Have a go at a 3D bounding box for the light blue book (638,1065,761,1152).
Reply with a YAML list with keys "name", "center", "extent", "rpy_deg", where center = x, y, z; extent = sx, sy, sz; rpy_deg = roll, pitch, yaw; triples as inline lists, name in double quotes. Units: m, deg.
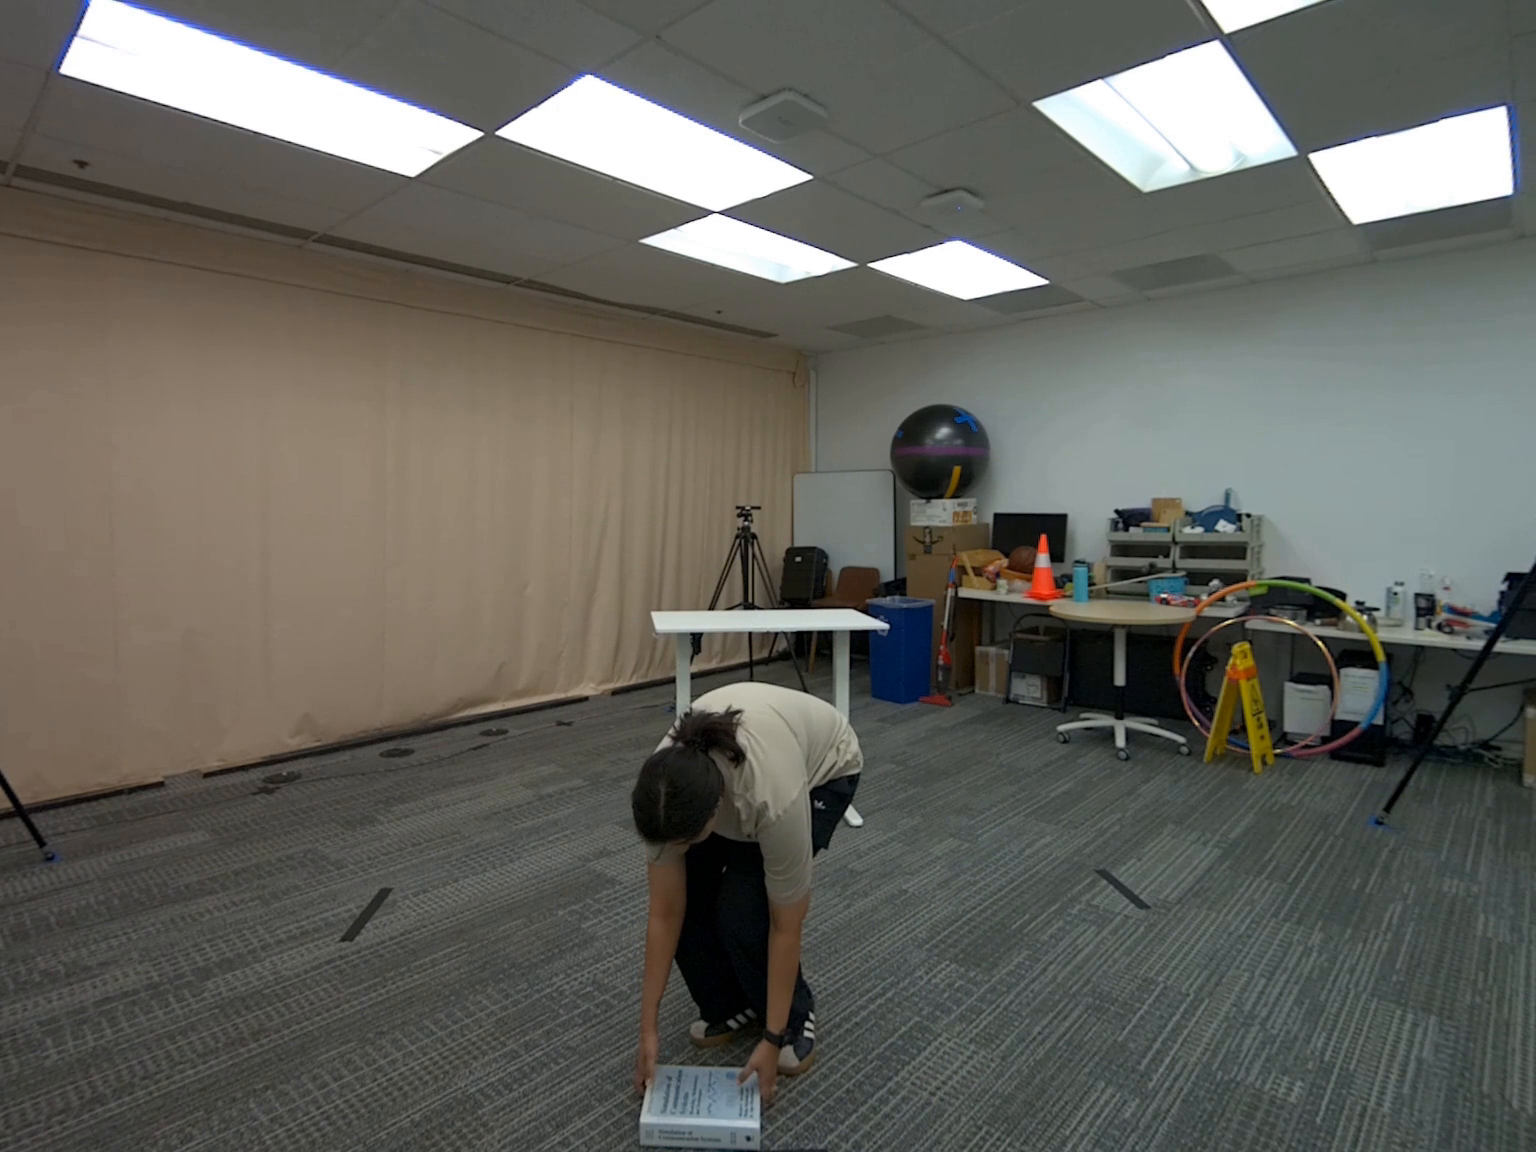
- name: "light blue book"
  center: [-0.147, 1.202, 1.923]
  extent: [0.262, 0.059, 0.191]
  rpy_deg: [0, 5, 2]
